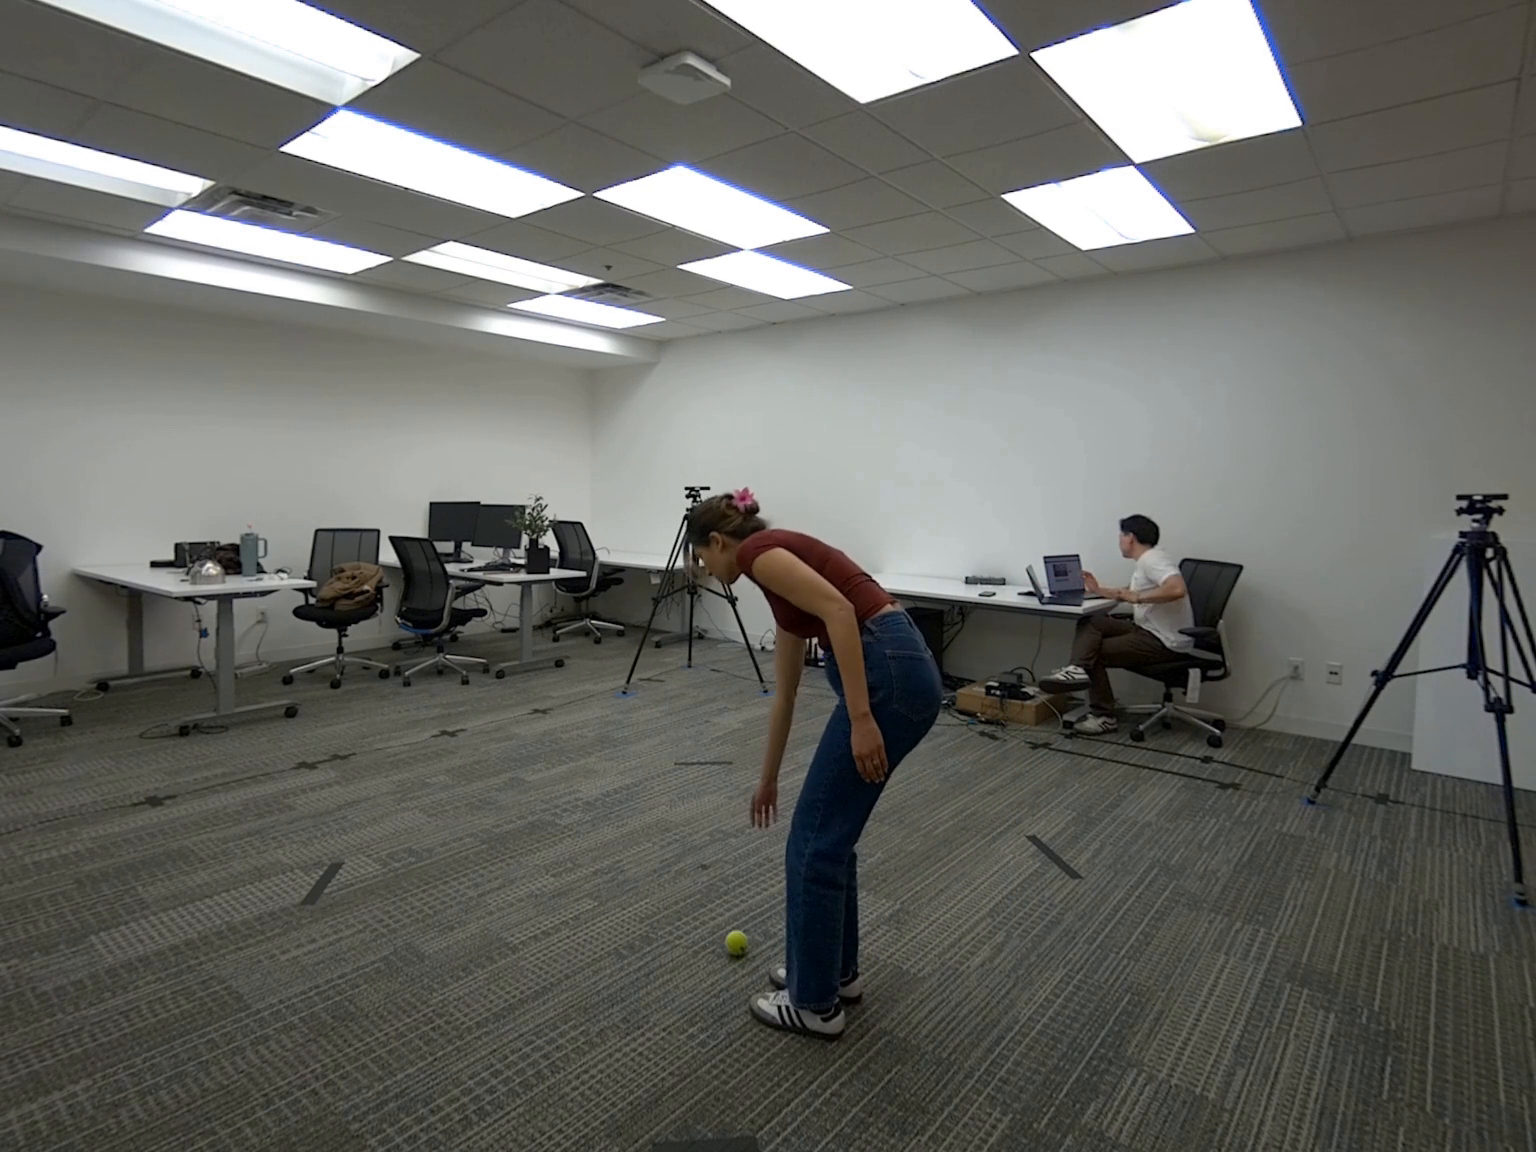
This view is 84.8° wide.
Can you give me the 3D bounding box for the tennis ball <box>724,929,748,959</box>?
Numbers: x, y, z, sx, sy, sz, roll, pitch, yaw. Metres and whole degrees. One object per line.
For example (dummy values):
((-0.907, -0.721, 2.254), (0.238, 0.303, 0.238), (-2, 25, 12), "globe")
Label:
((-0.094, 1.082, 2.538), (0.066, 0.066, 0.067), (1, 4, -2), "tennis ball")
